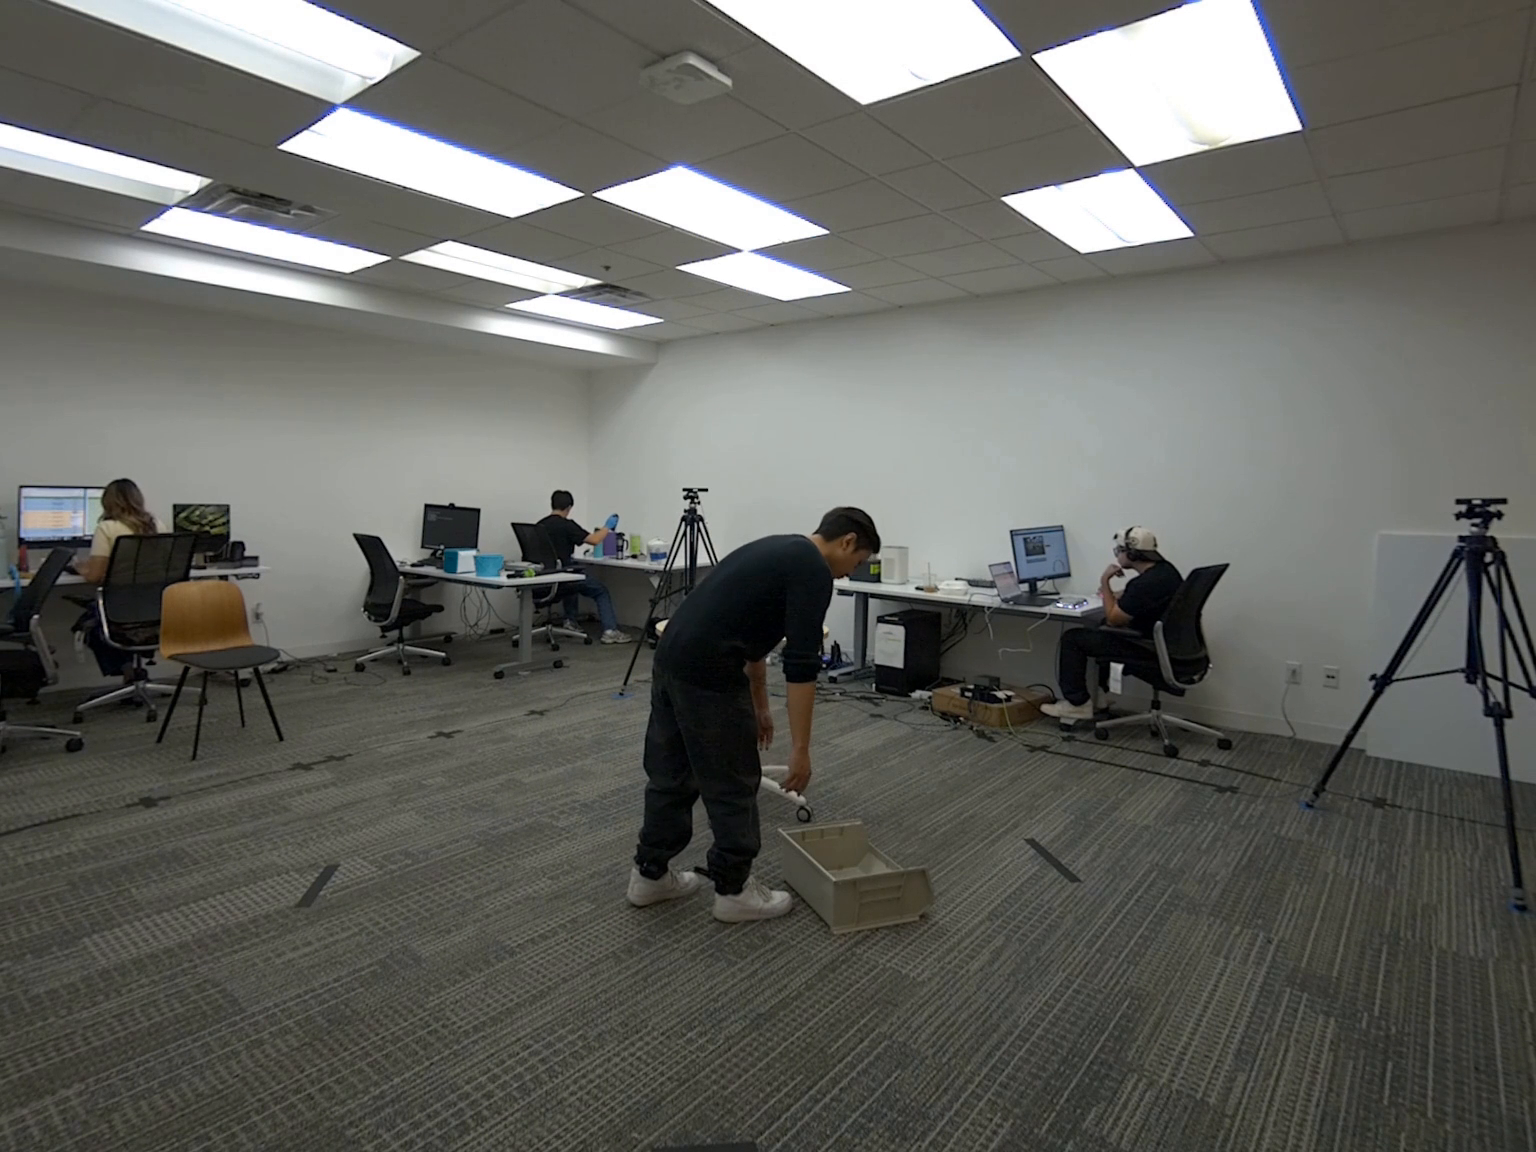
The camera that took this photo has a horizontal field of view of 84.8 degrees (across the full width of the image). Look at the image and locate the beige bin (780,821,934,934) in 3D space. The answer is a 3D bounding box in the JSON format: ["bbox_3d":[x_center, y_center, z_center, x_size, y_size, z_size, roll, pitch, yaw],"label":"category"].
[{"bbox_3d":[0.286,1.010,2.914,0.369,0.188,0.433,-2,6,-22],"label":"beige bin"}]
